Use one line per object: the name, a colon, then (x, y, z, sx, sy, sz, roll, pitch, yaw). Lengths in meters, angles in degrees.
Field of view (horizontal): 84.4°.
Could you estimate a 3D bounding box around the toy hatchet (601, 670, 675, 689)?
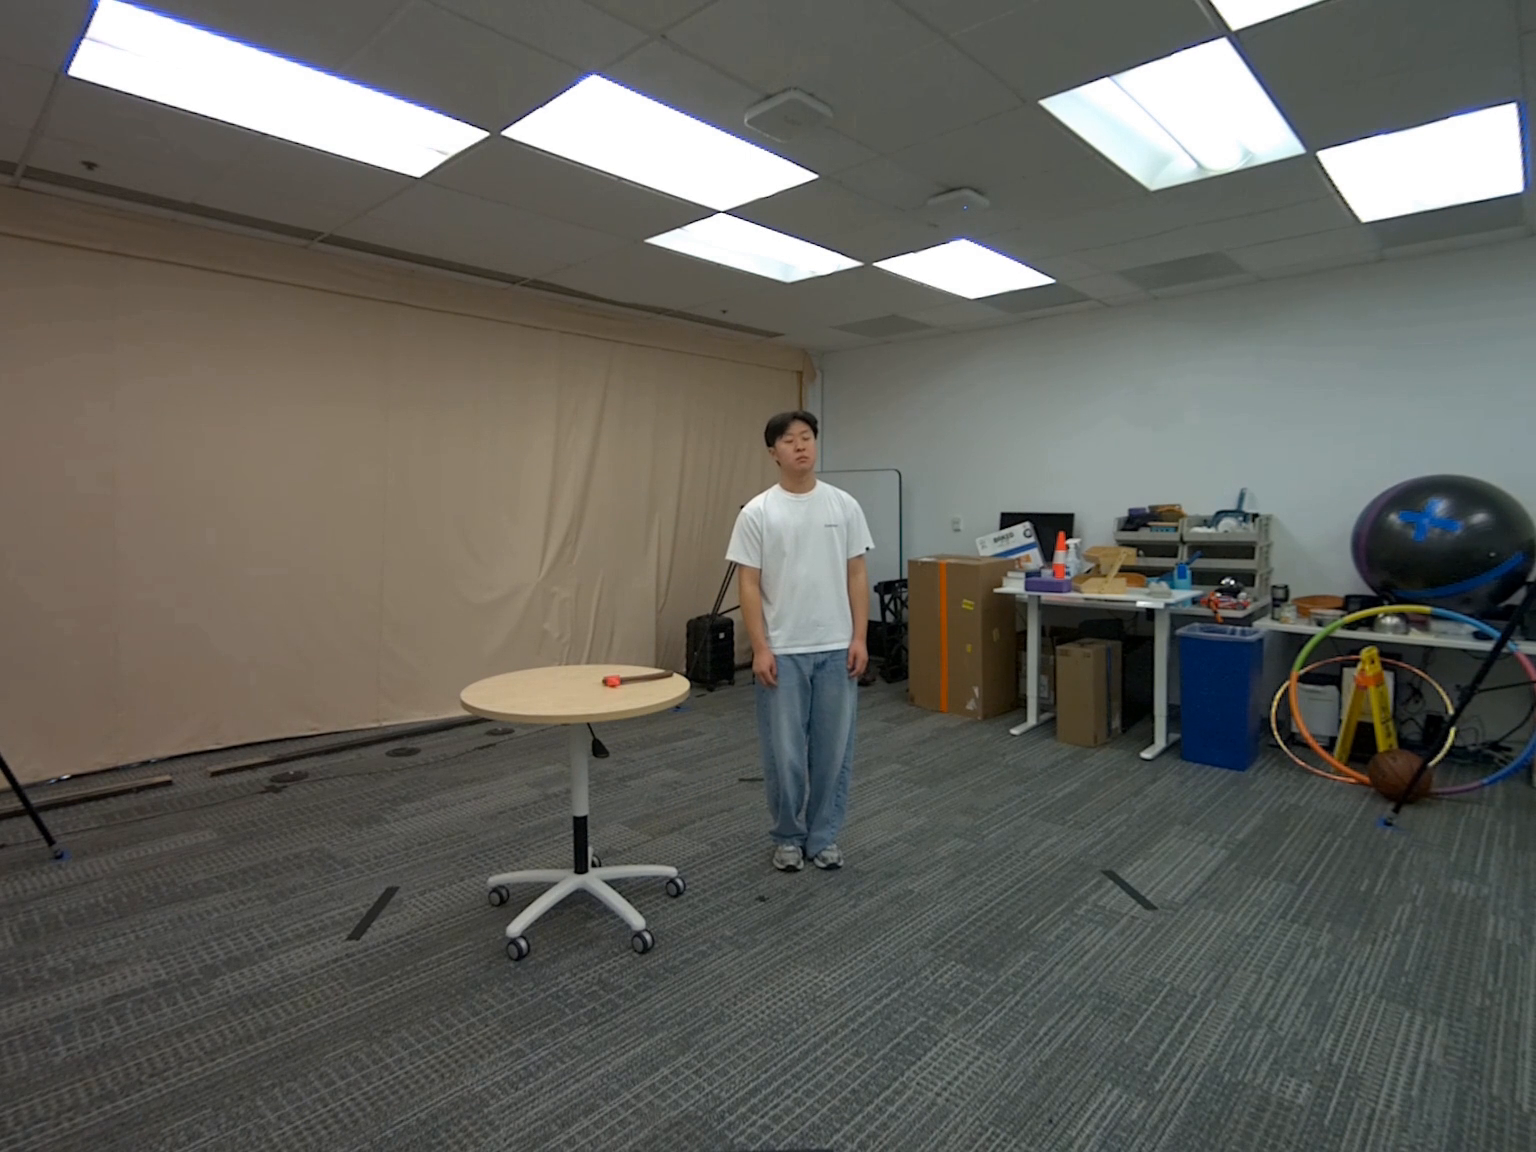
toy hatchet: (-0.469, 0.354, 2.950, 0.135, 0.029, 0.262, -1, 2, 43)
